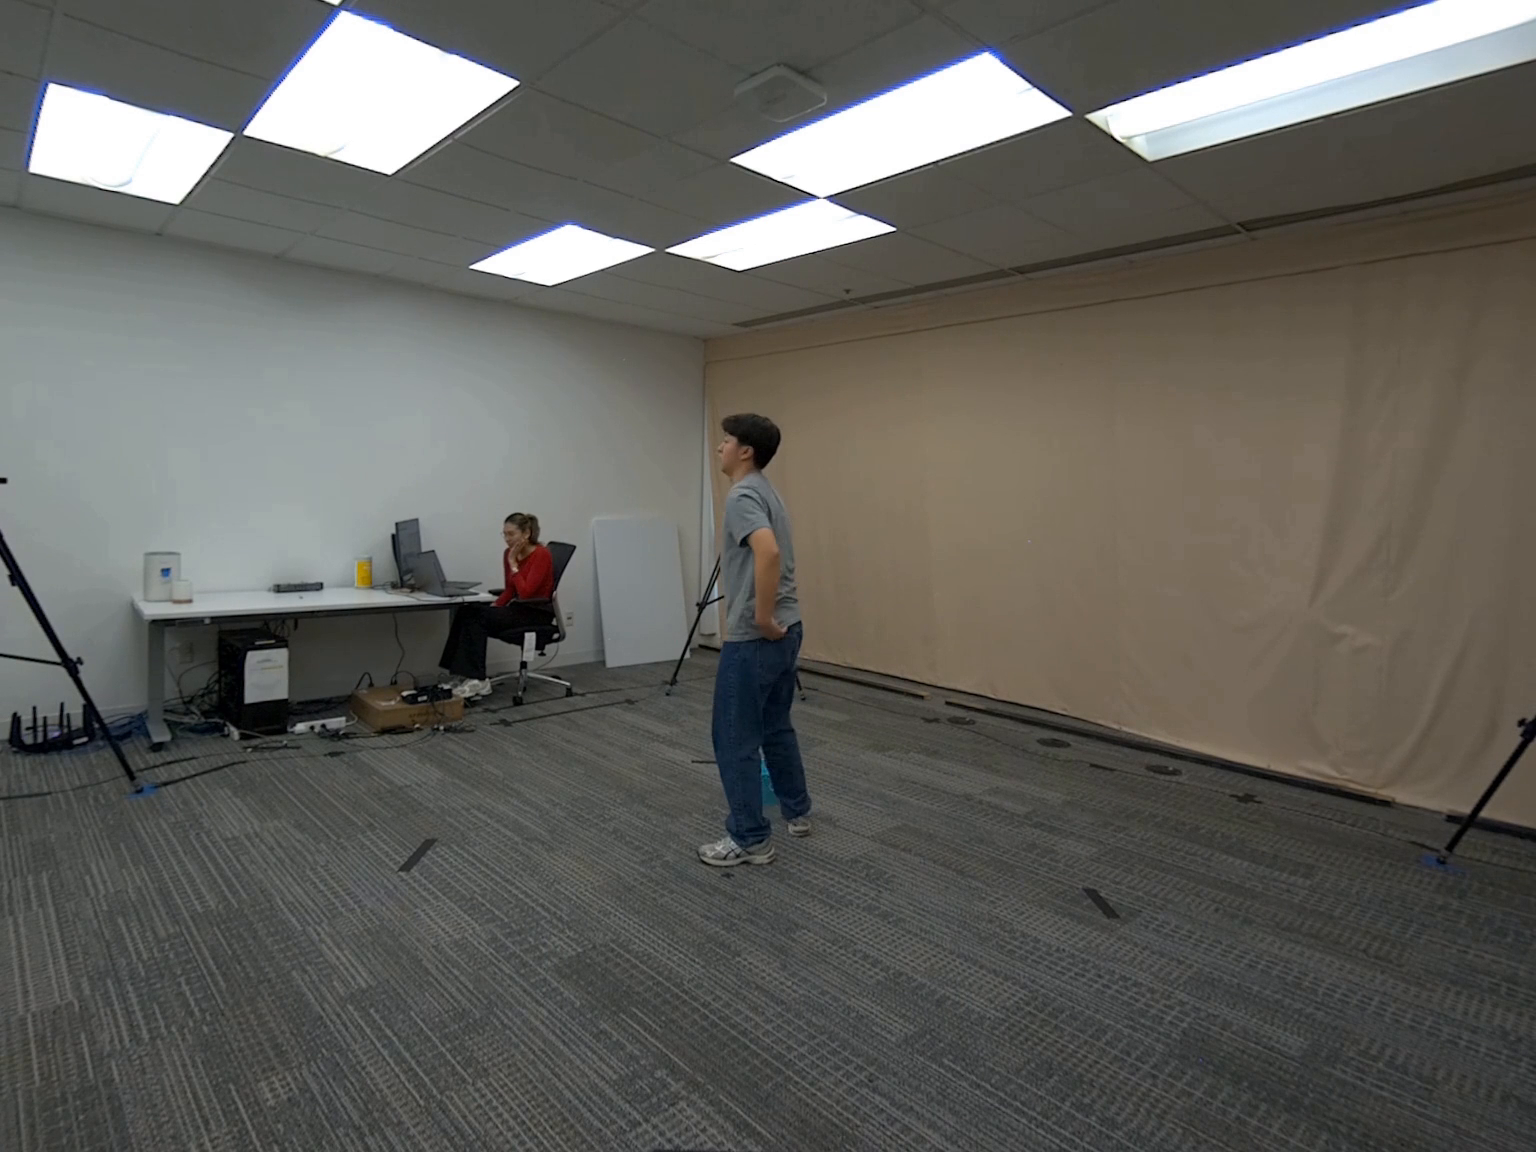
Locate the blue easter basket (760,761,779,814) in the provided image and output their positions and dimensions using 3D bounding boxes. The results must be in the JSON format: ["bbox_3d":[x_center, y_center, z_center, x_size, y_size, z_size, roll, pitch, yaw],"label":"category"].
[{"bbox_3d":[-0.018,0.963,3.918,0.243,0.155,0.244,2,4,-1],"label":"blue easter basket"}]
